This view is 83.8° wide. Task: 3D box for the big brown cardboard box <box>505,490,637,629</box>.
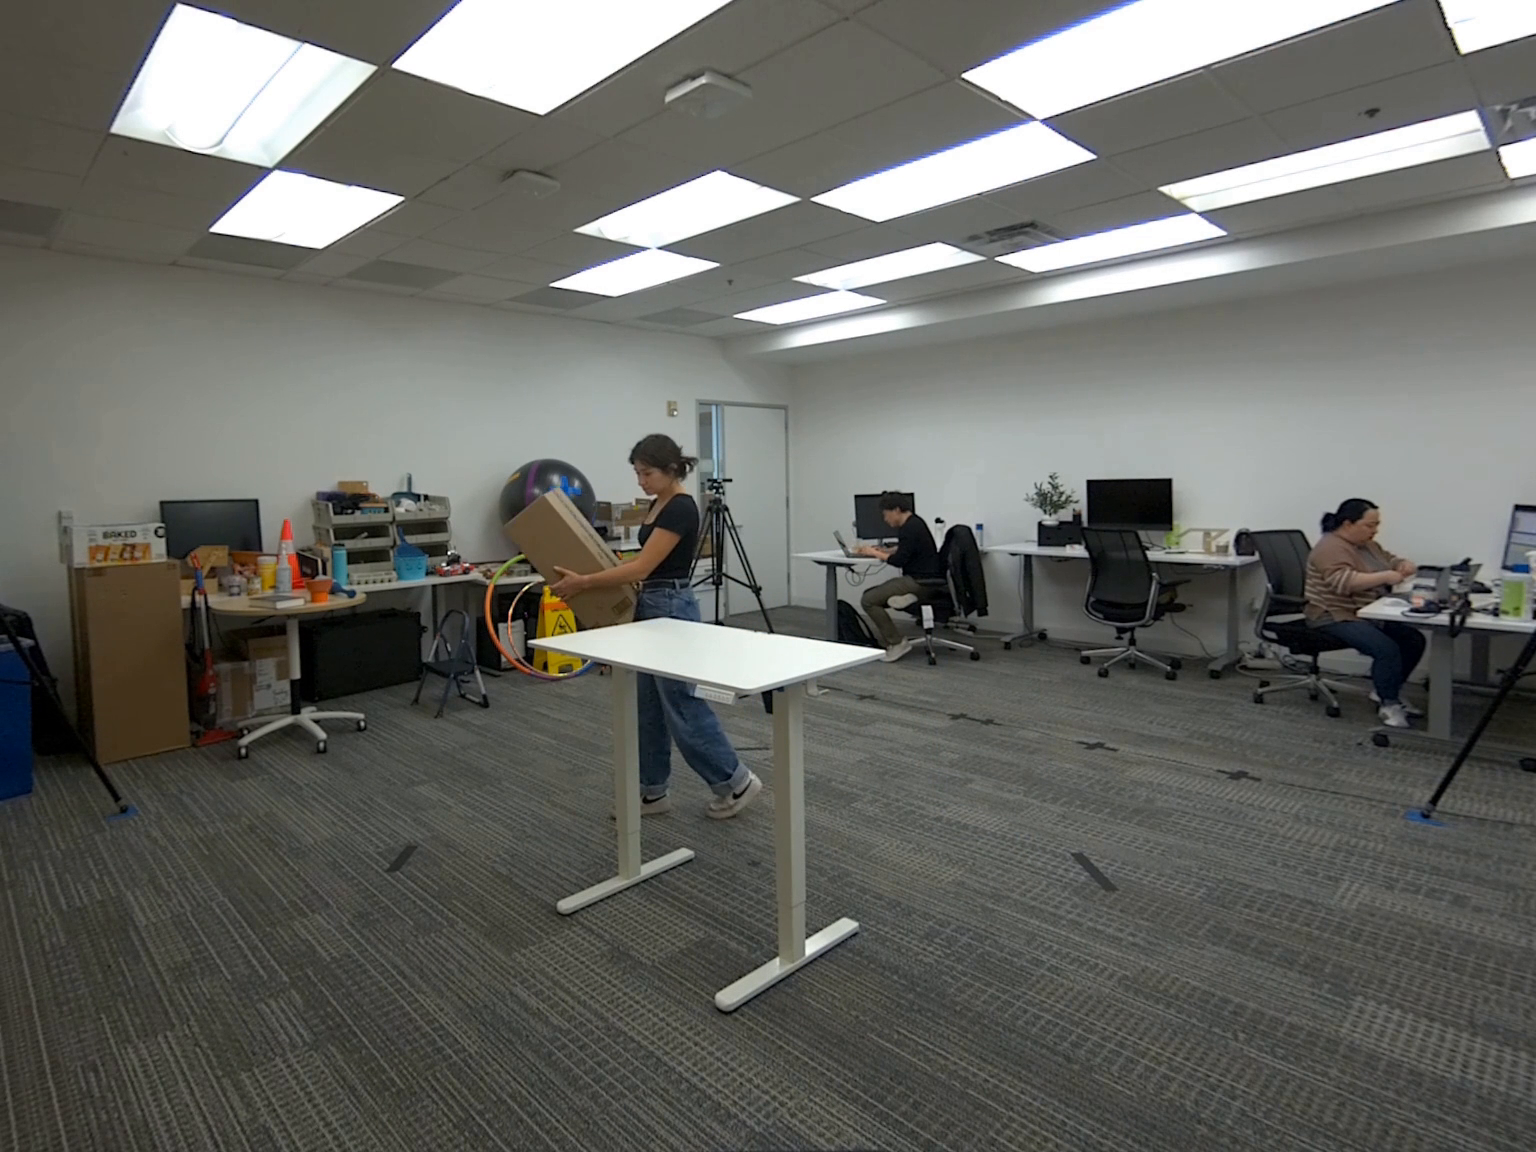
[{"bbox_3d":[-0.798,-0.075,3.540,0.233,0.584,0.421,-39,7,2],"label":"big brown cardboard box"}]
